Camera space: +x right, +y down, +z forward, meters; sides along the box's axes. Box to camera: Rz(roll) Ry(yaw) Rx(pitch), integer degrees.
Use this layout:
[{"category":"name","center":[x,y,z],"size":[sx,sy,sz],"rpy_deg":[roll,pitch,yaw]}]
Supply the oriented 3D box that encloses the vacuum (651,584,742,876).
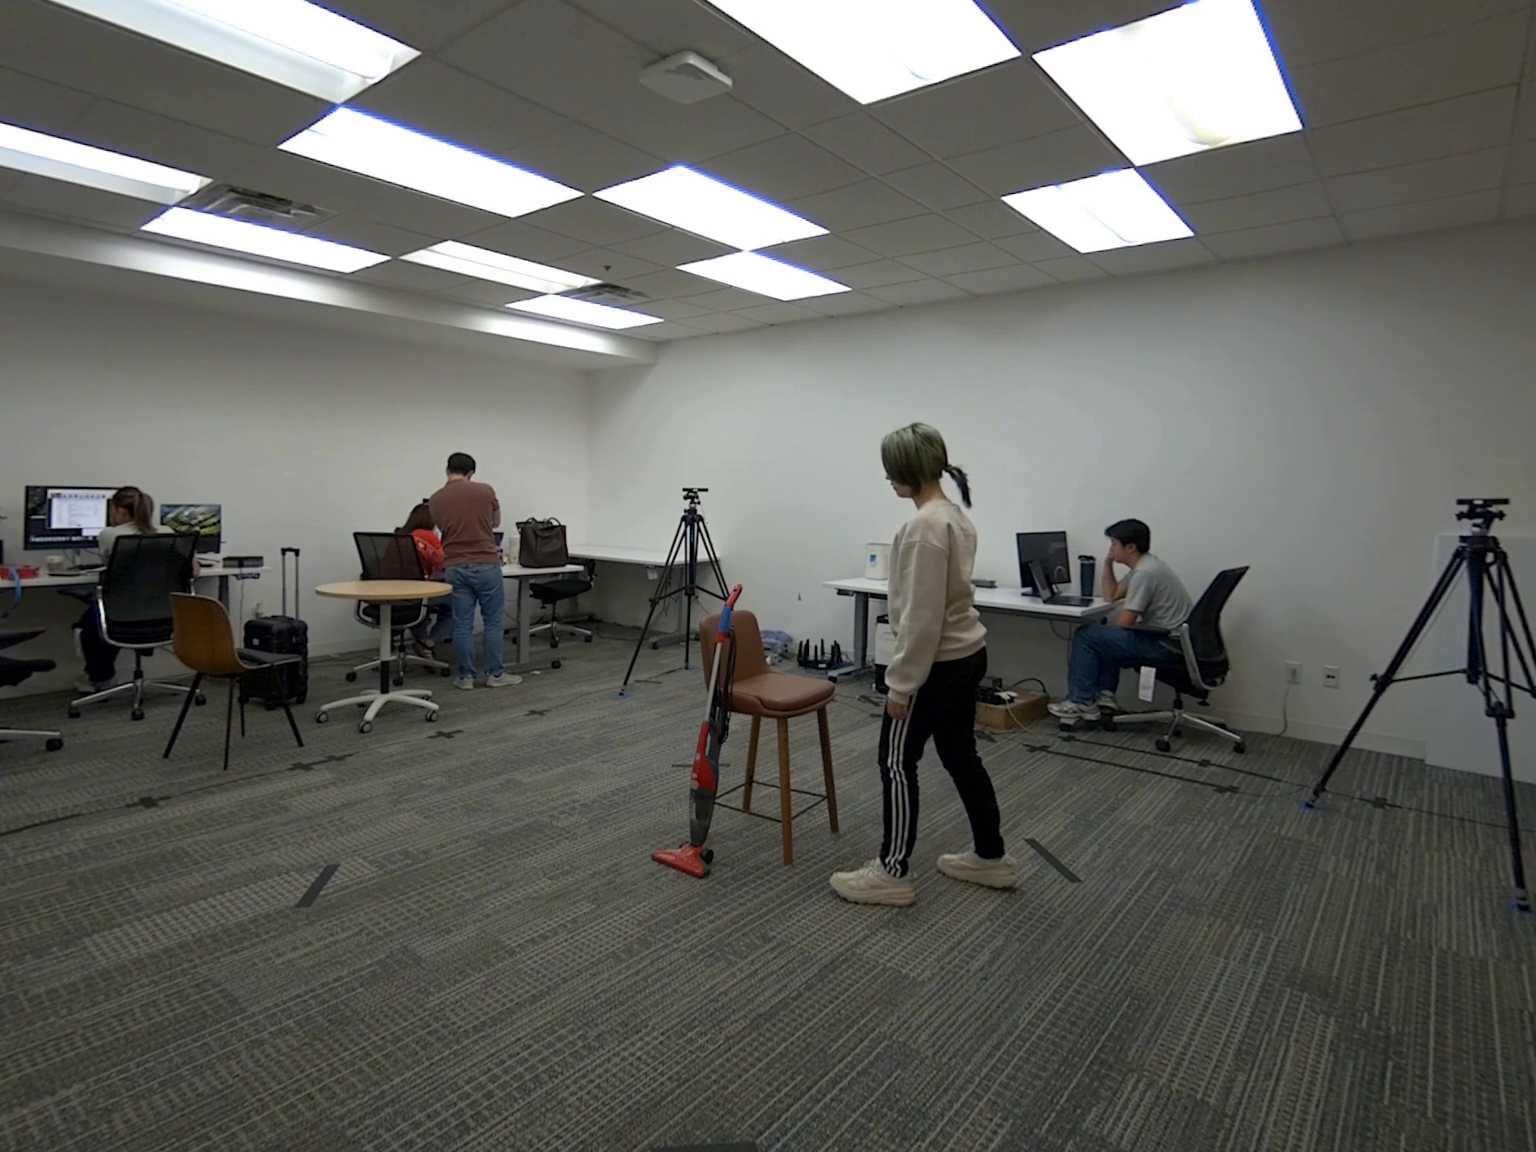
[{"category":"vacuum","center":[-0.218,0.546,3.251],"size":[0.261,1.056,0.138],"rpy_deg":[2,-12,44]}]
